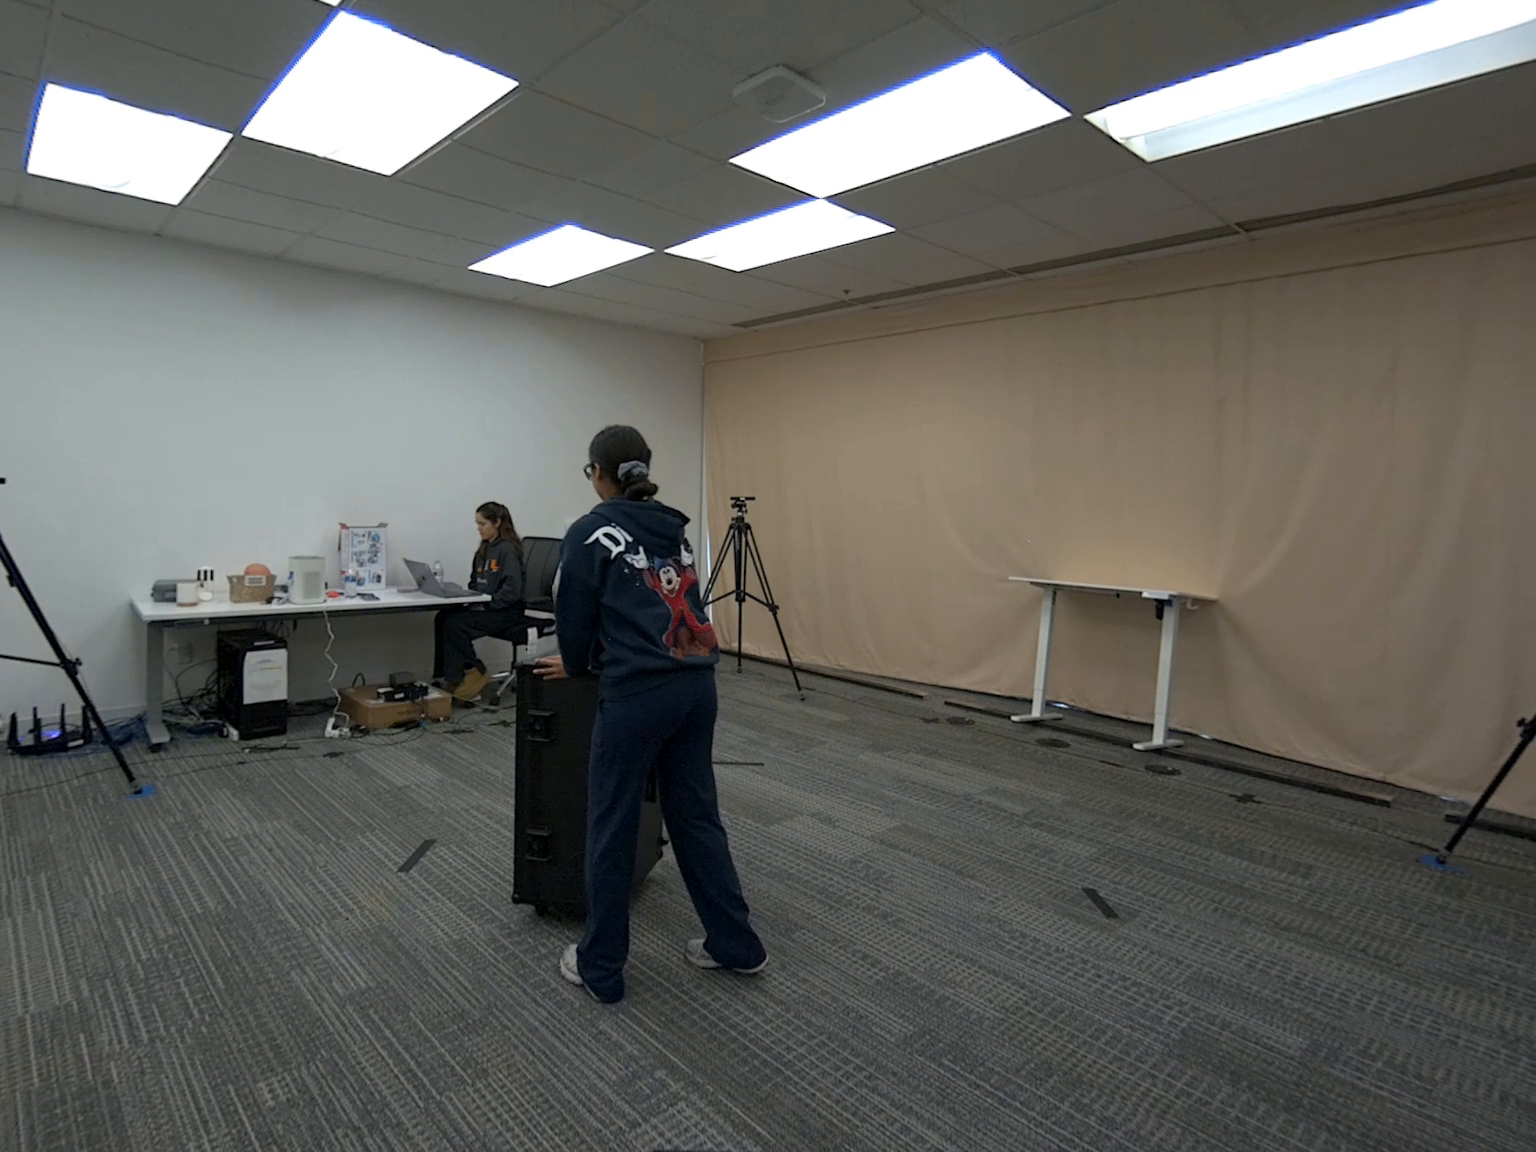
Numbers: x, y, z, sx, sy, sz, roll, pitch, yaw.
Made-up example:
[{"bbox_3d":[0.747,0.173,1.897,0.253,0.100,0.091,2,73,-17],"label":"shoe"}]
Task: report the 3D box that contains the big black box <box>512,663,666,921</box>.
[{"bbox_3d":[-0.593,0.695,2.889,0.400,0.859,0.517,3,4,12],"label":"big black box"}]
